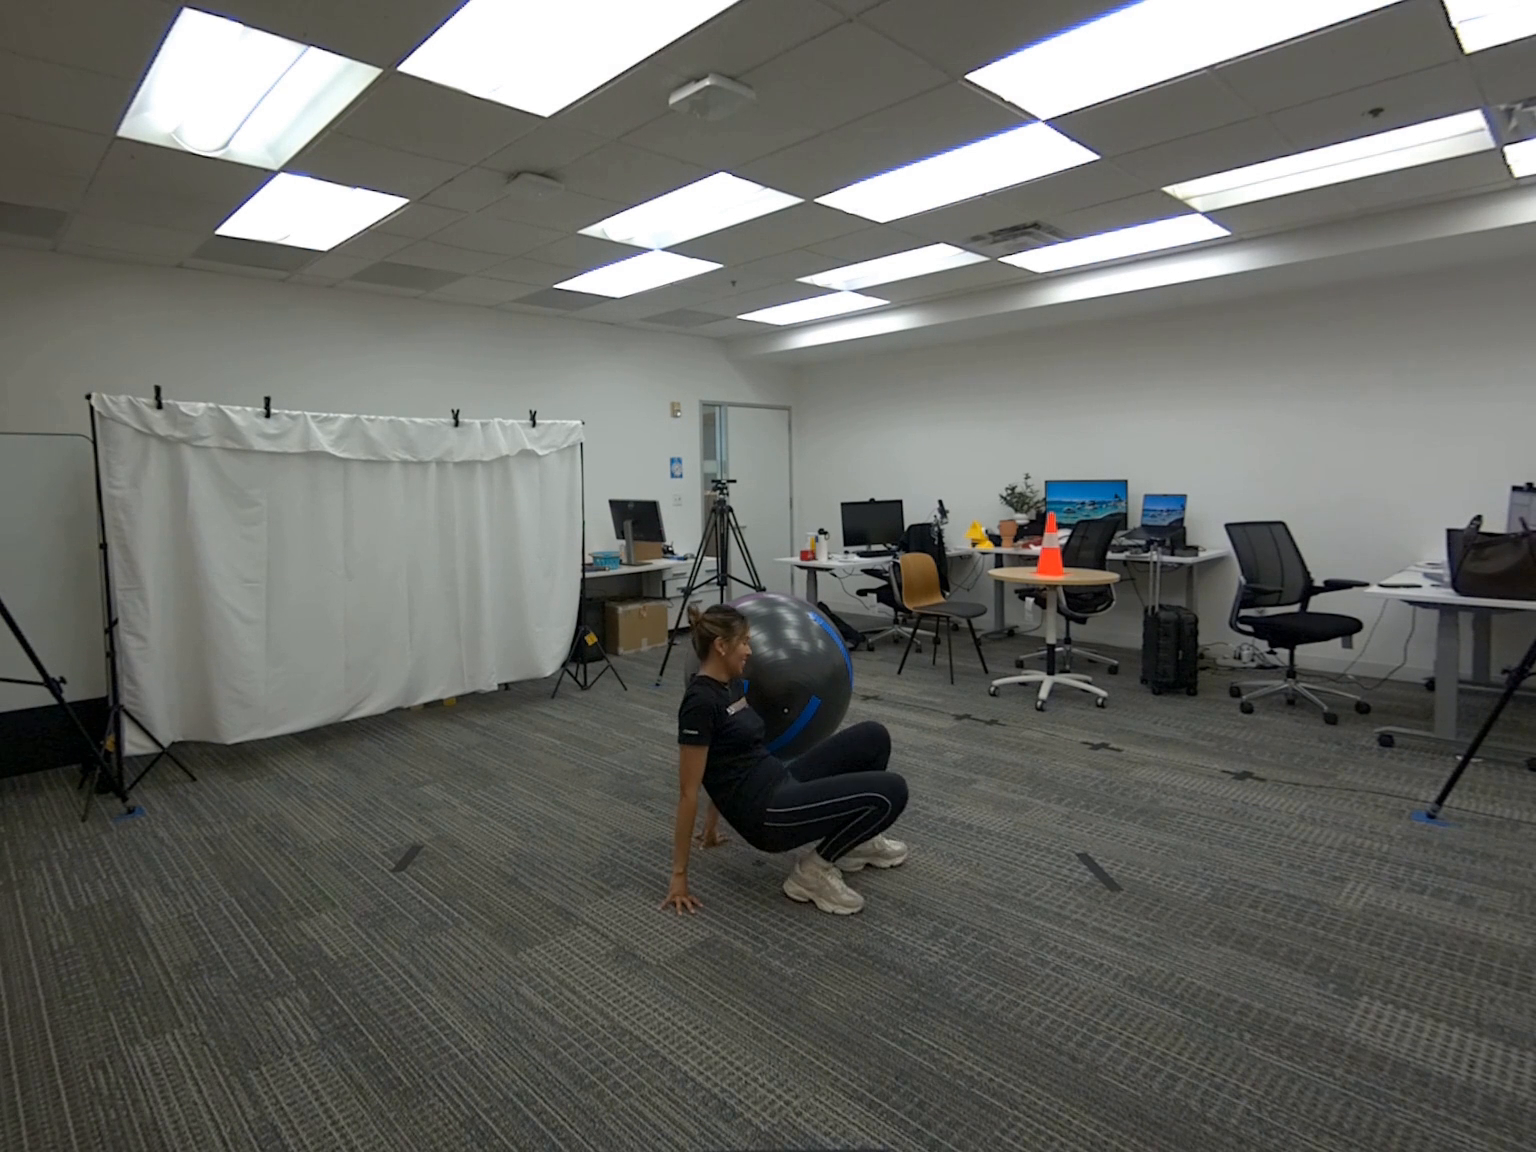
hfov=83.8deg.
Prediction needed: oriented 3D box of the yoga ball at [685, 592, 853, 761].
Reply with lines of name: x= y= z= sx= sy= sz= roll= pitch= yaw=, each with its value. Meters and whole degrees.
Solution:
yoga ball: x=-0.001 y=0.459 z=3.856 sx=0.757 sy=0.755 sz=0.762 roll=-1 pitch=5 yaw=-2
